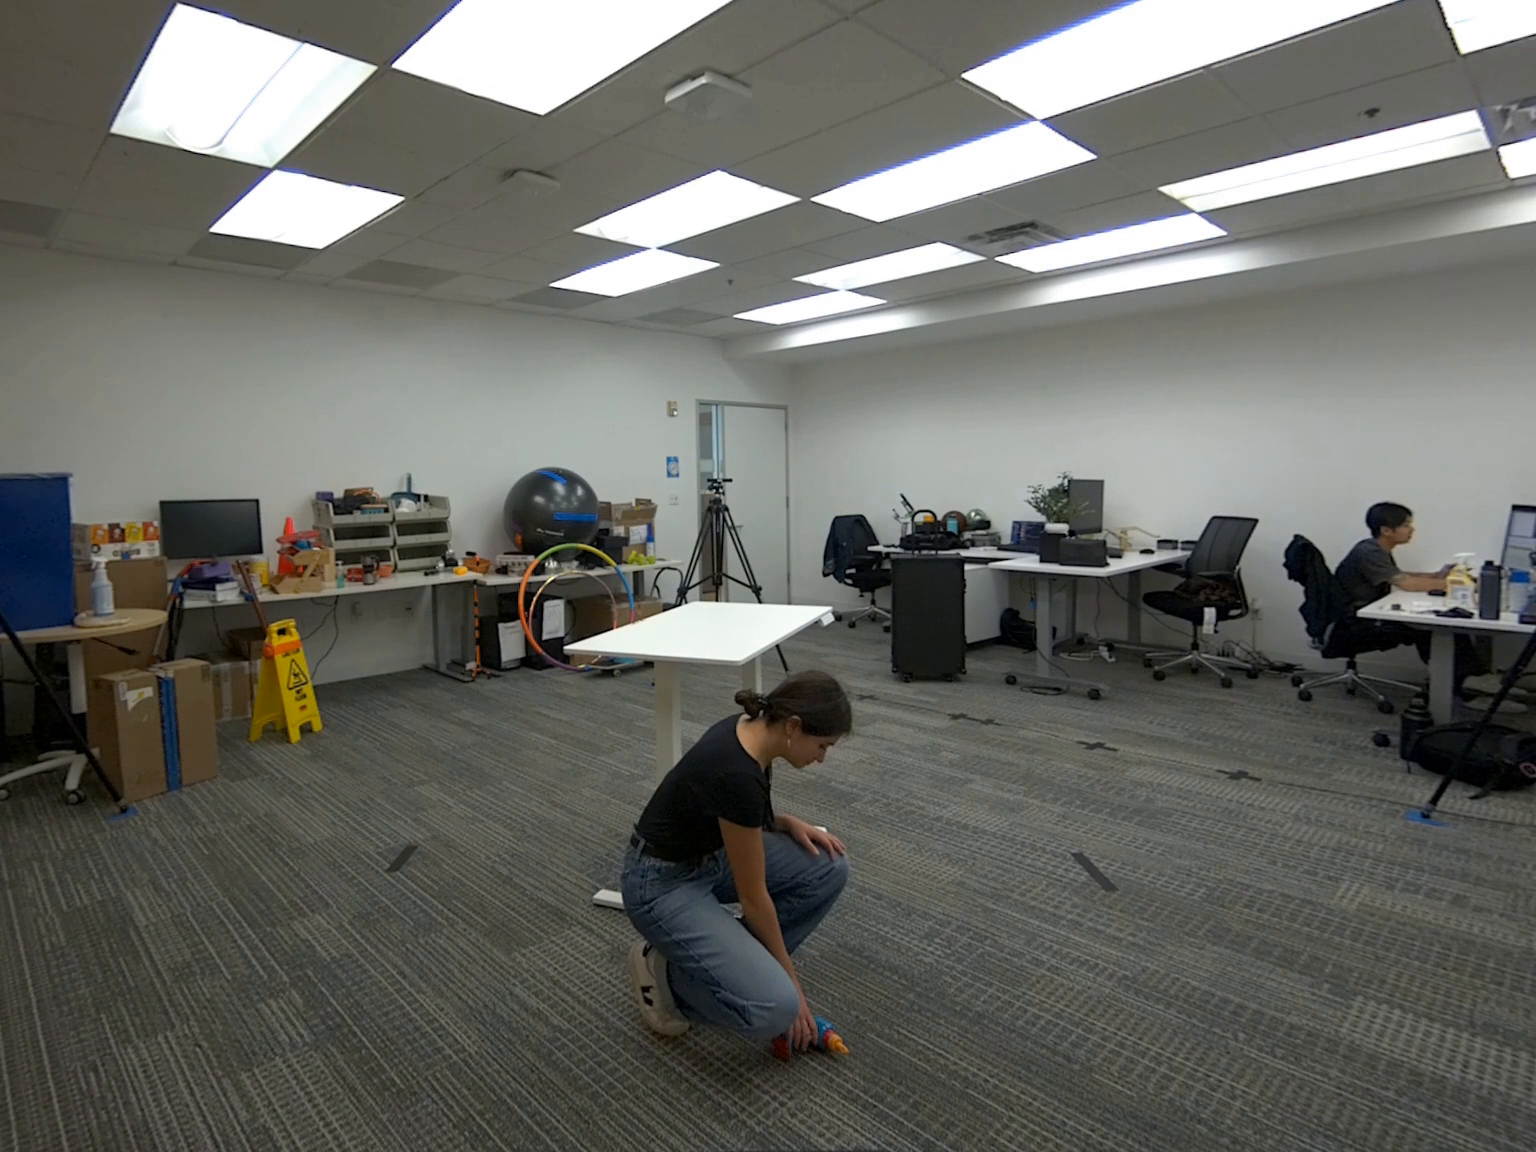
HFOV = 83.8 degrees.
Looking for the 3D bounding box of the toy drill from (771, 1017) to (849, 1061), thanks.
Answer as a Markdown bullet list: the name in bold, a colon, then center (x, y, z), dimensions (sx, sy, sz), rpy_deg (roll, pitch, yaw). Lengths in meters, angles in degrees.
- **toy drill**: center (0.109, 1.132, 2.081), dimensions (0.143, 0.061, 0.174), rpy_deg (-6, 6, -31)
